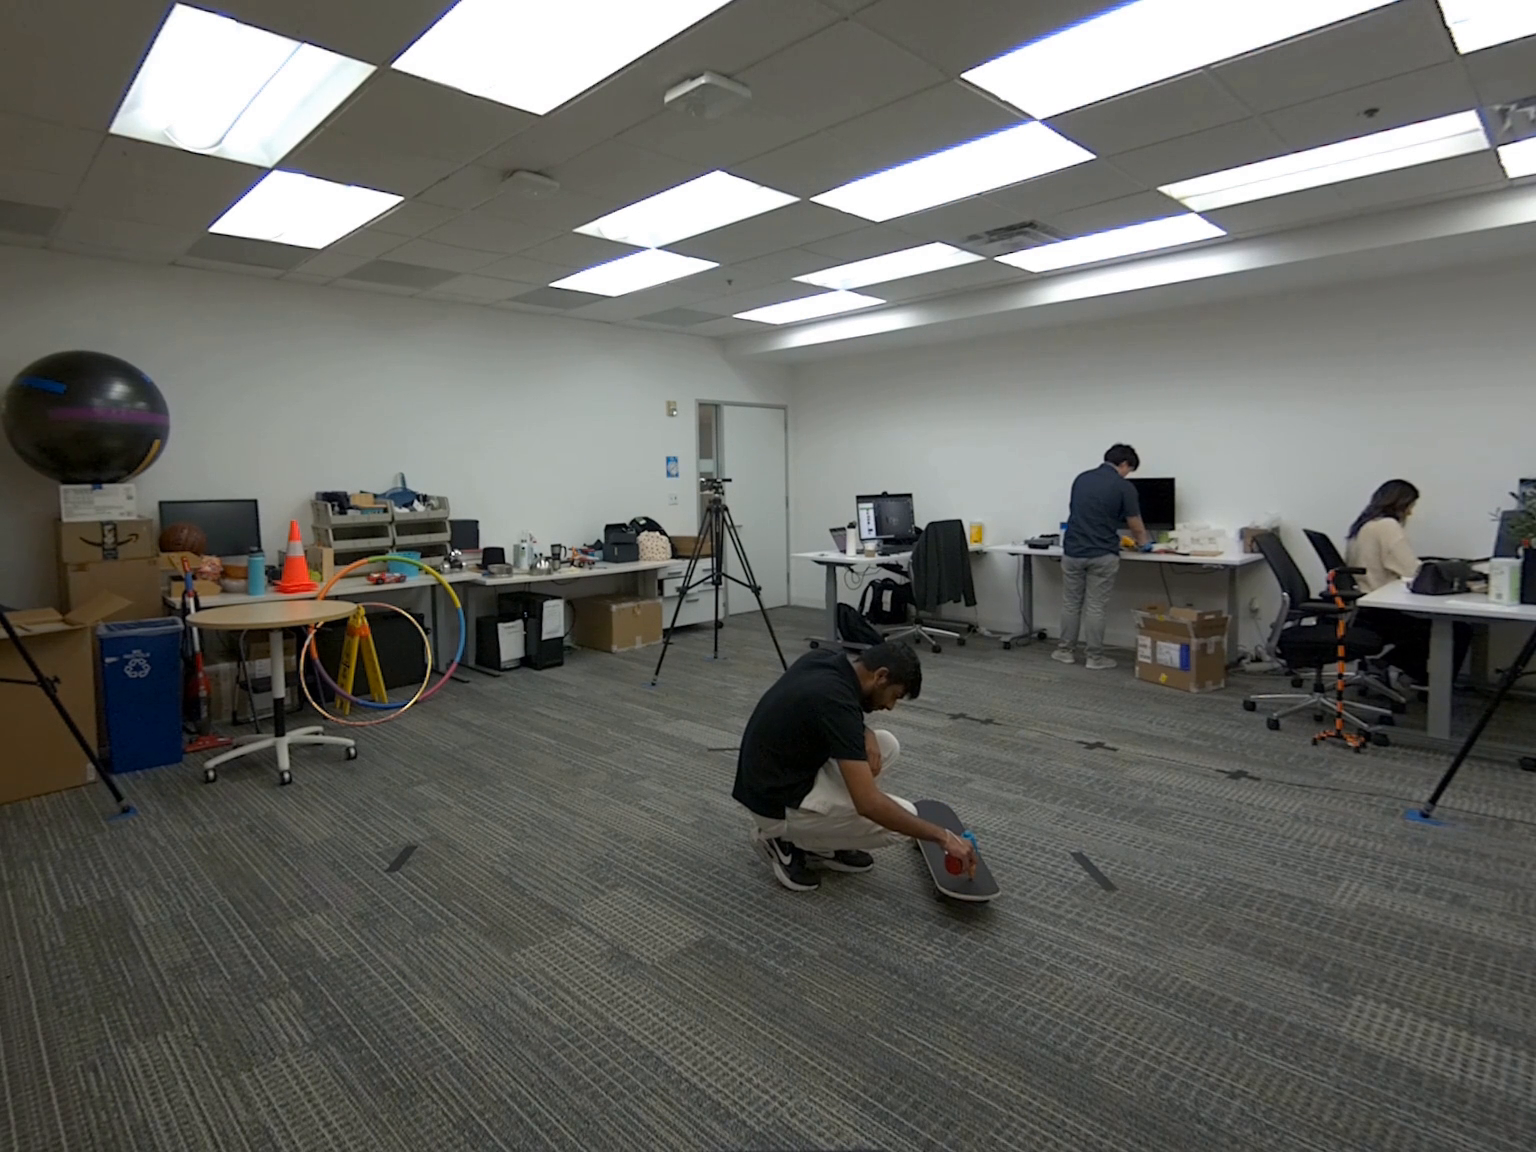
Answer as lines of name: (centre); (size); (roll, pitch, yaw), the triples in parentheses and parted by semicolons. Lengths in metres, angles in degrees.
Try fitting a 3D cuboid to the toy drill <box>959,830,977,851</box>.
toy drill: (0.625, 0.909, 2.732); (0.144, 0.166, 0.063); (-22, 26, -33)
